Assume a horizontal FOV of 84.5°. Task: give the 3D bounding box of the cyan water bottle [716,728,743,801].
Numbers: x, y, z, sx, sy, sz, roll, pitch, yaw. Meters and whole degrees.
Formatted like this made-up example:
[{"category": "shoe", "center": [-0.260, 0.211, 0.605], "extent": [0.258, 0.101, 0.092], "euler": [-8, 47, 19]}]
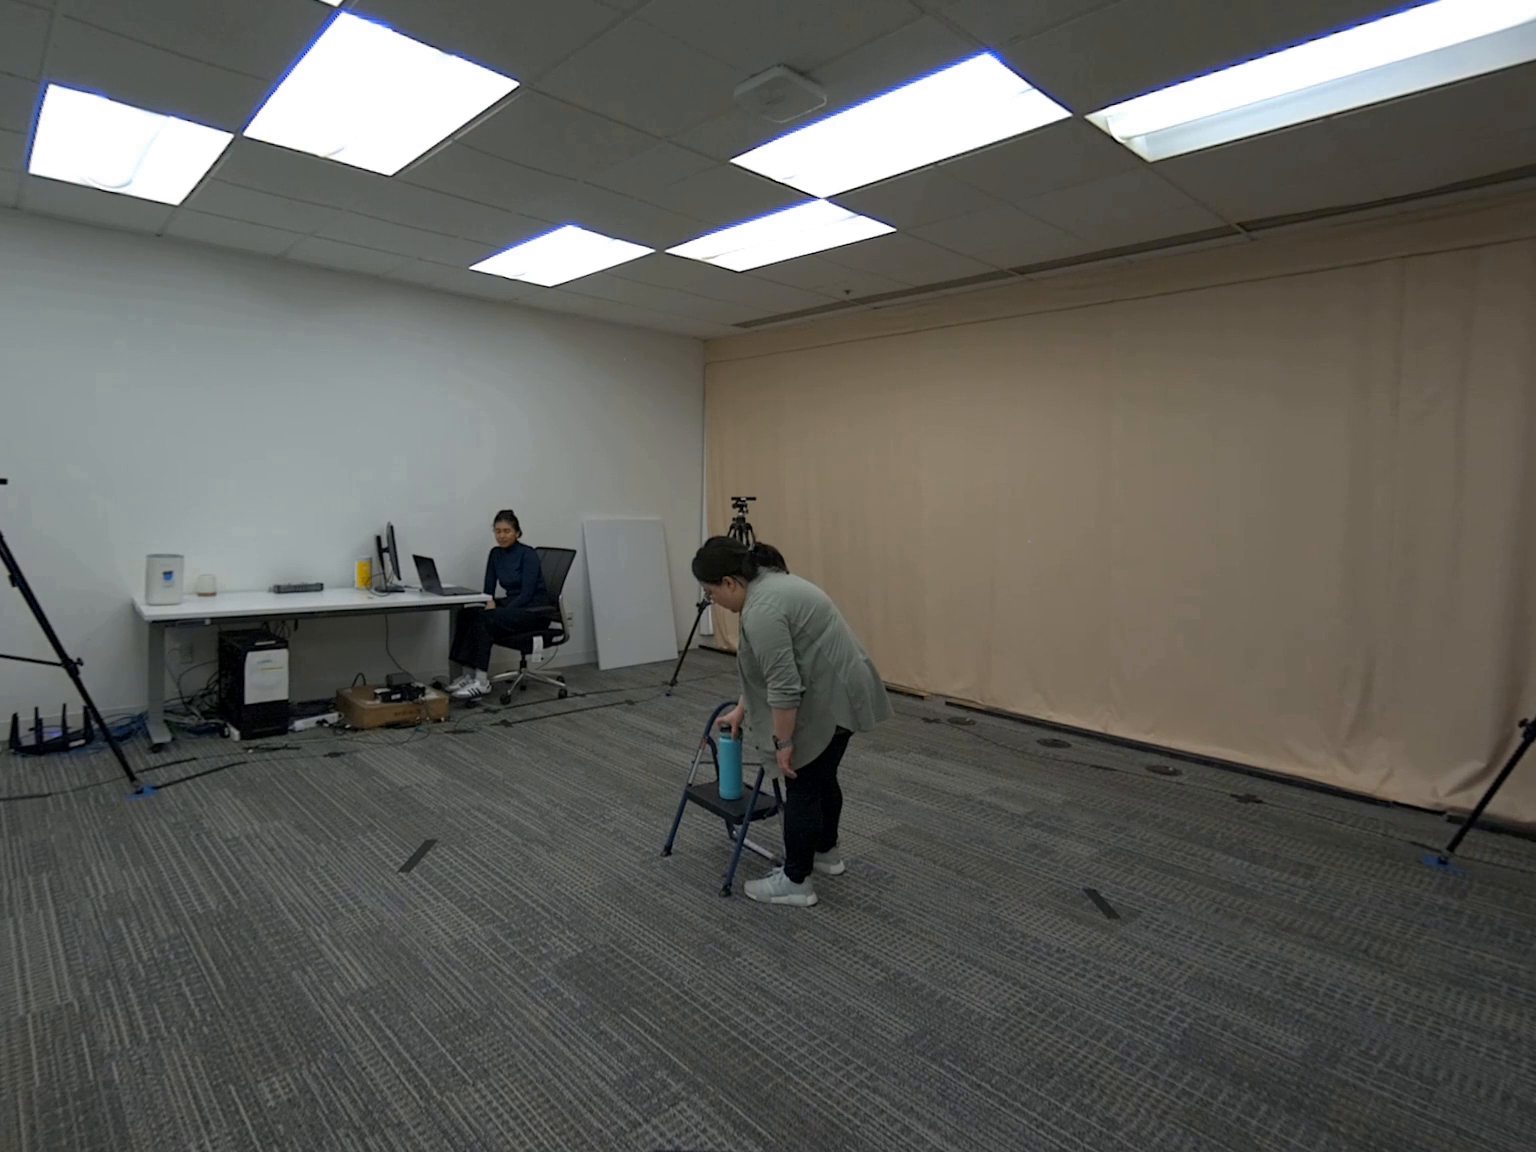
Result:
[{"category": "cyan water bottle", "center": [-0.150, 0.694, 3.204], "extent": [0.092, 0.283, 0.092], "euler": [0, 3, -1]}]
